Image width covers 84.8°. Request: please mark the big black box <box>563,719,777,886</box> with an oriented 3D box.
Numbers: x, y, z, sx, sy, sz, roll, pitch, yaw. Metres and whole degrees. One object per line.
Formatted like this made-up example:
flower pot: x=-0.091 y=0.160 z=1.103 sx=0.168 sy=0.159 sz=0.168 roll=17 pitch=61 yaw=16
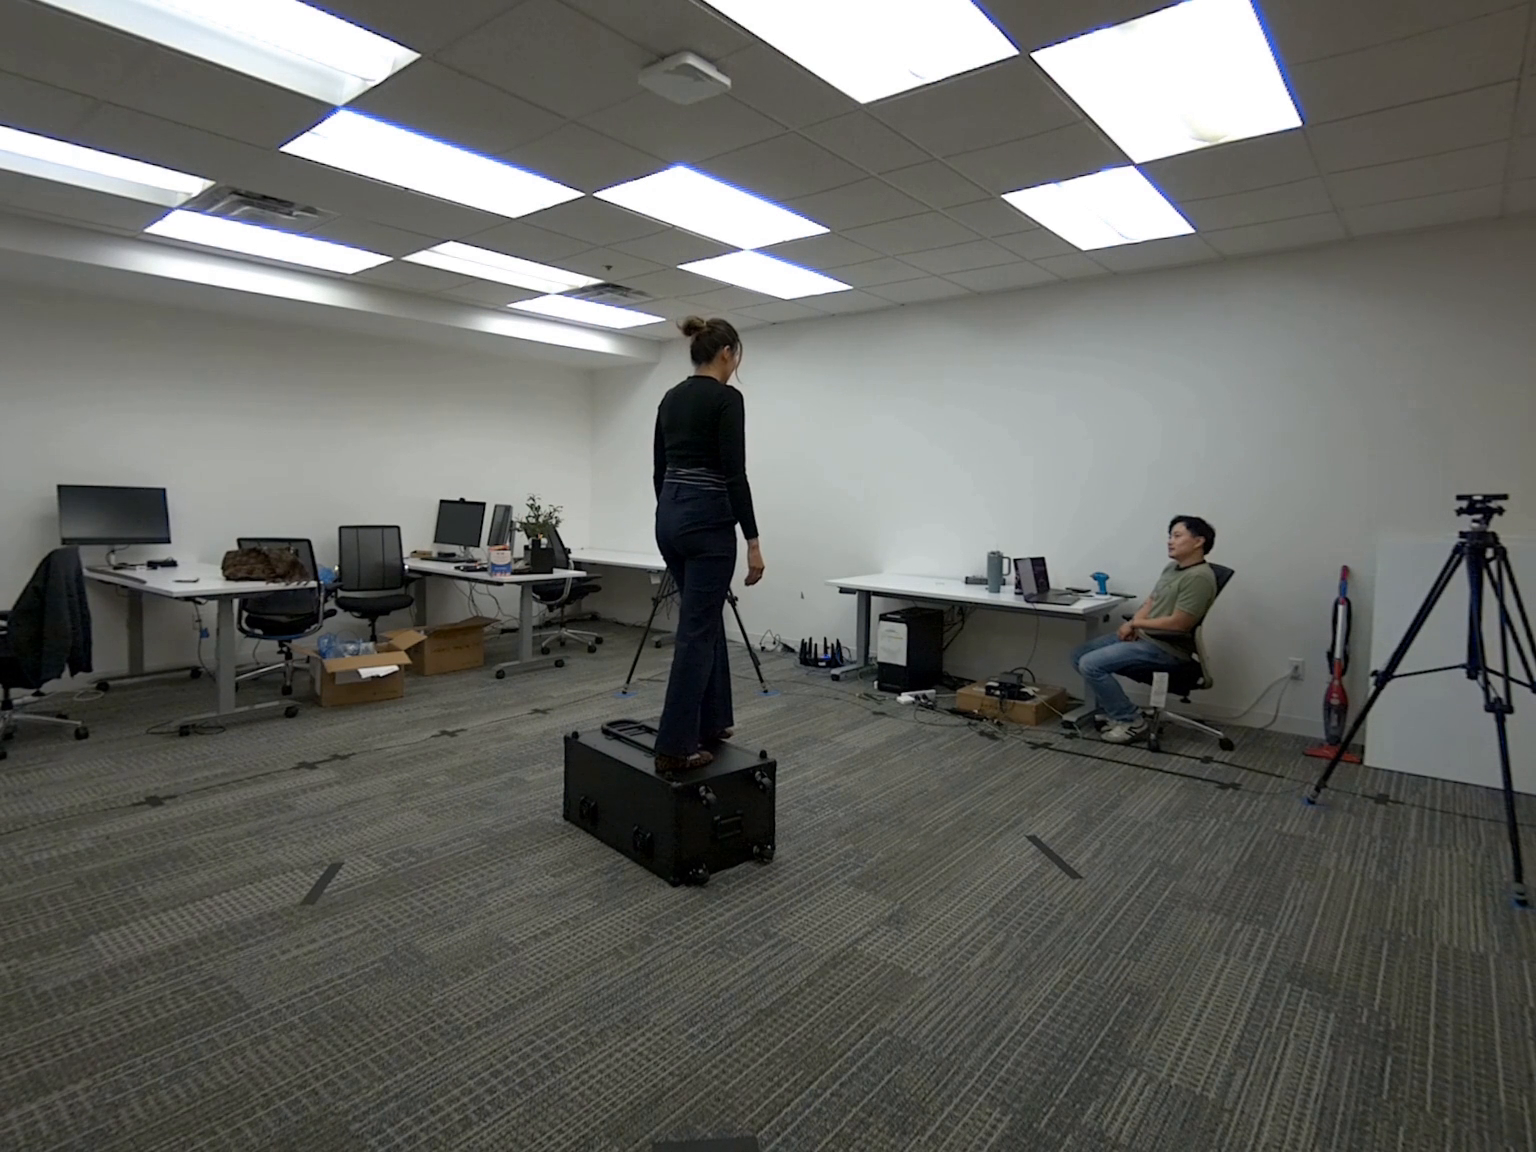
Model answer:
big black box: x=-0.441 y=0.859 z=3.412 sx=0.506 sy=0.395 sz=0.891 roll=-3 pitch=7 yaw=-41
